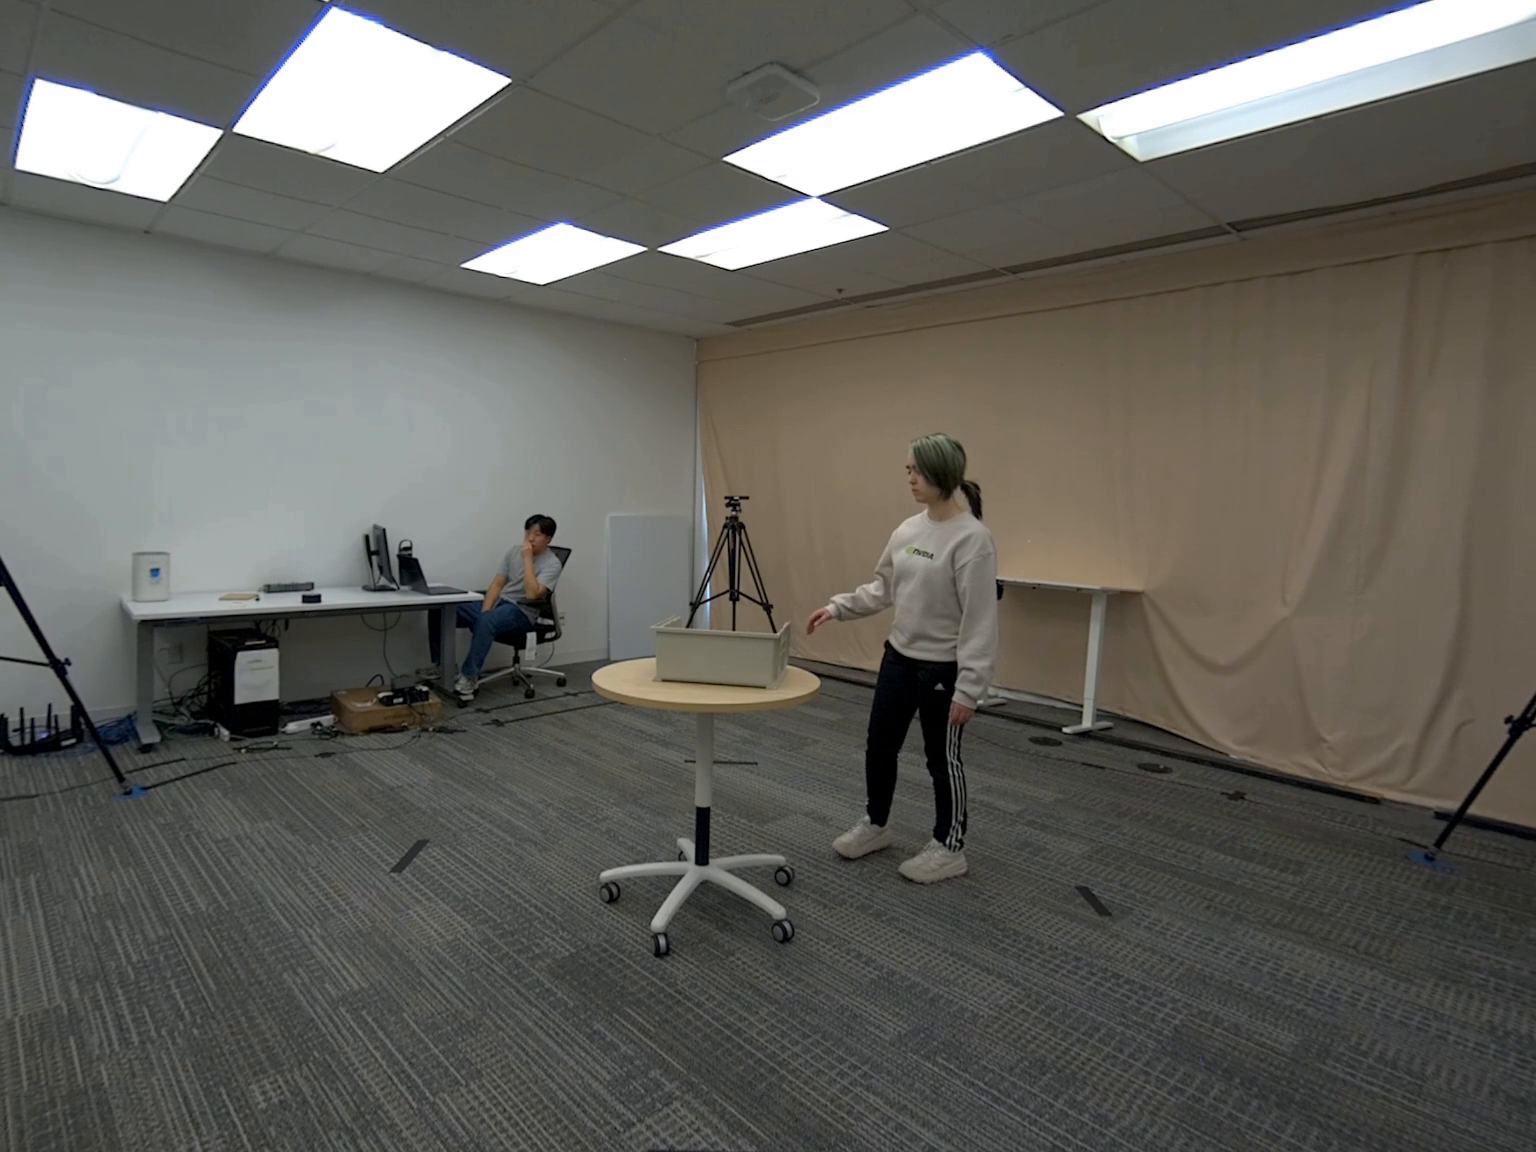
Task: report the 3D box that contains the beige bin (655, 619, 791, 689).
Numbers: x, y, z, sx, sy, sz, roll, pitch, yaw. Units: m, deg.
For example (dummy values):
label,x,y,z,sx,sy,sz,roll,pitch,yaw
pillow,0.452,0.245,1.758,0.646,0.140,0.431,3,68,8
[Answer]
label,x,y,z,sx,sy,sz,roll,pitch,yaw
beige bin,-0.158,0.253,2.875,0.425,0.188,0.376,3,6,8
